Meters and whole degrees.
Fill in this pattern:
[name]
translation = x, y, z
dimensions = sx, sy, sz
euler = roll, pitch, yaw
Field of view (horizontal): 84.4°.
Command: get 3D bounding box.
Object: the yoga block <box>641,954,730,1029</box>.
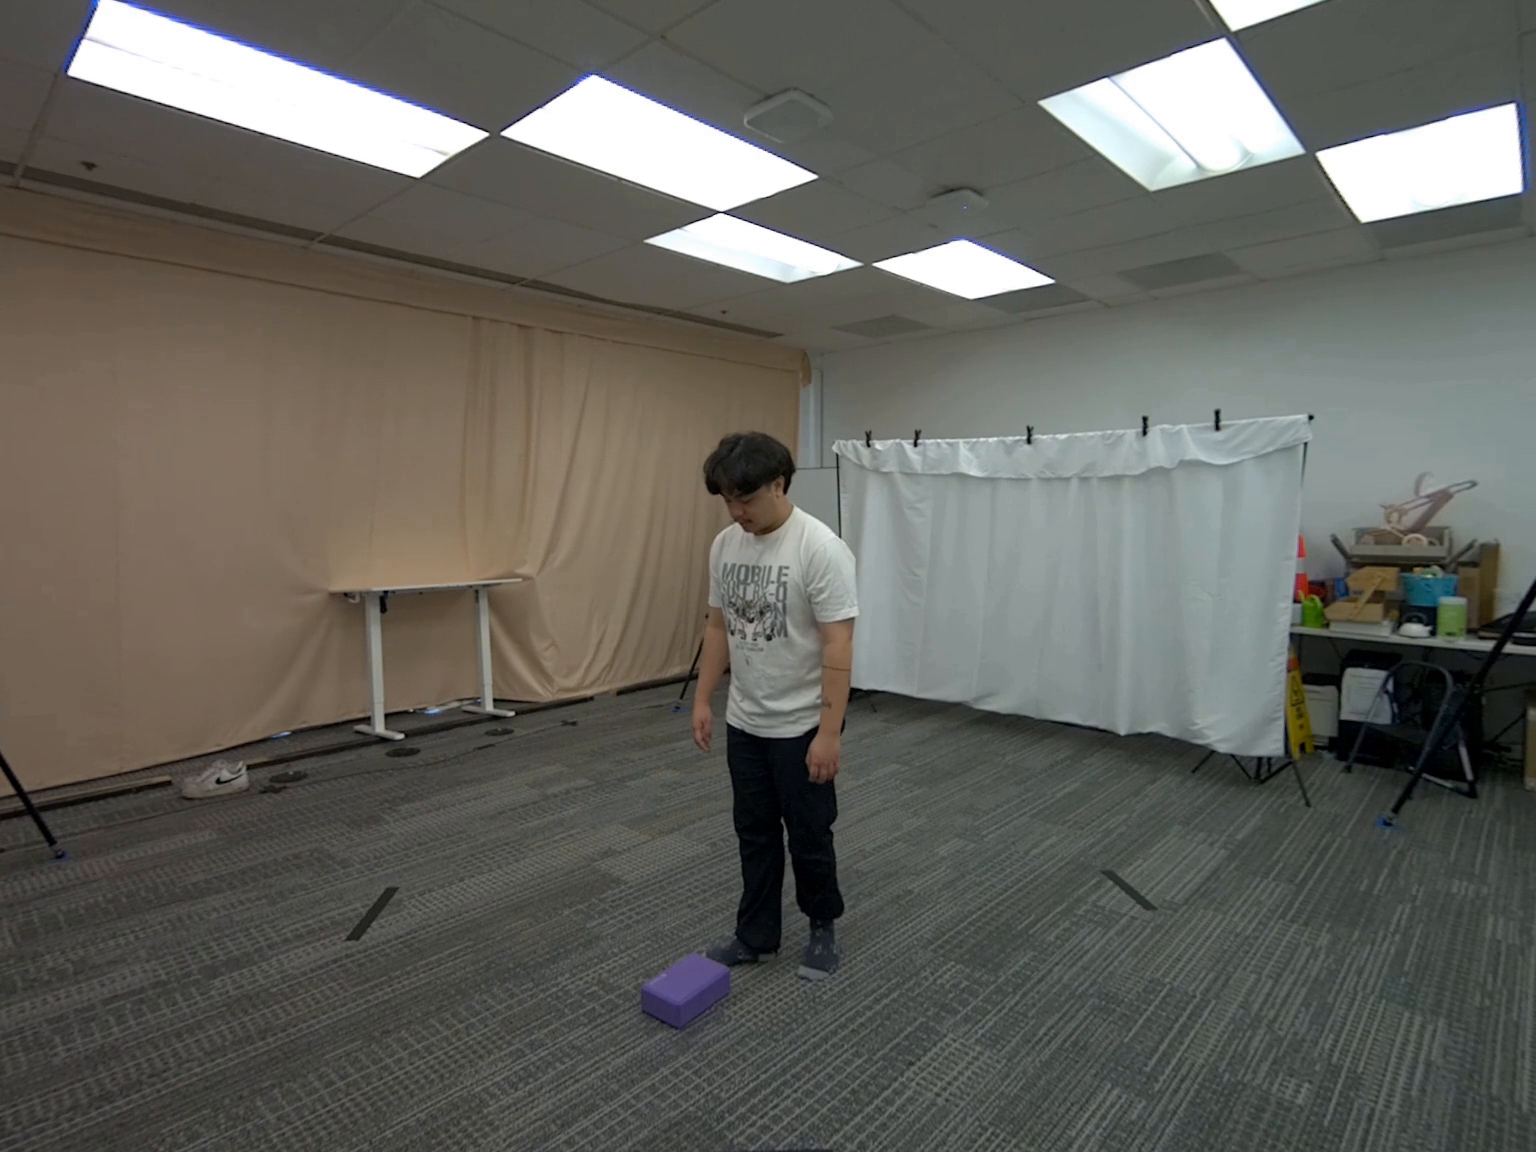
[yoga block]
translation = -0.226, 1.159, 2.361
dimensions = 0.154, 0.076, 0.223
euler = 4, 7, 35
